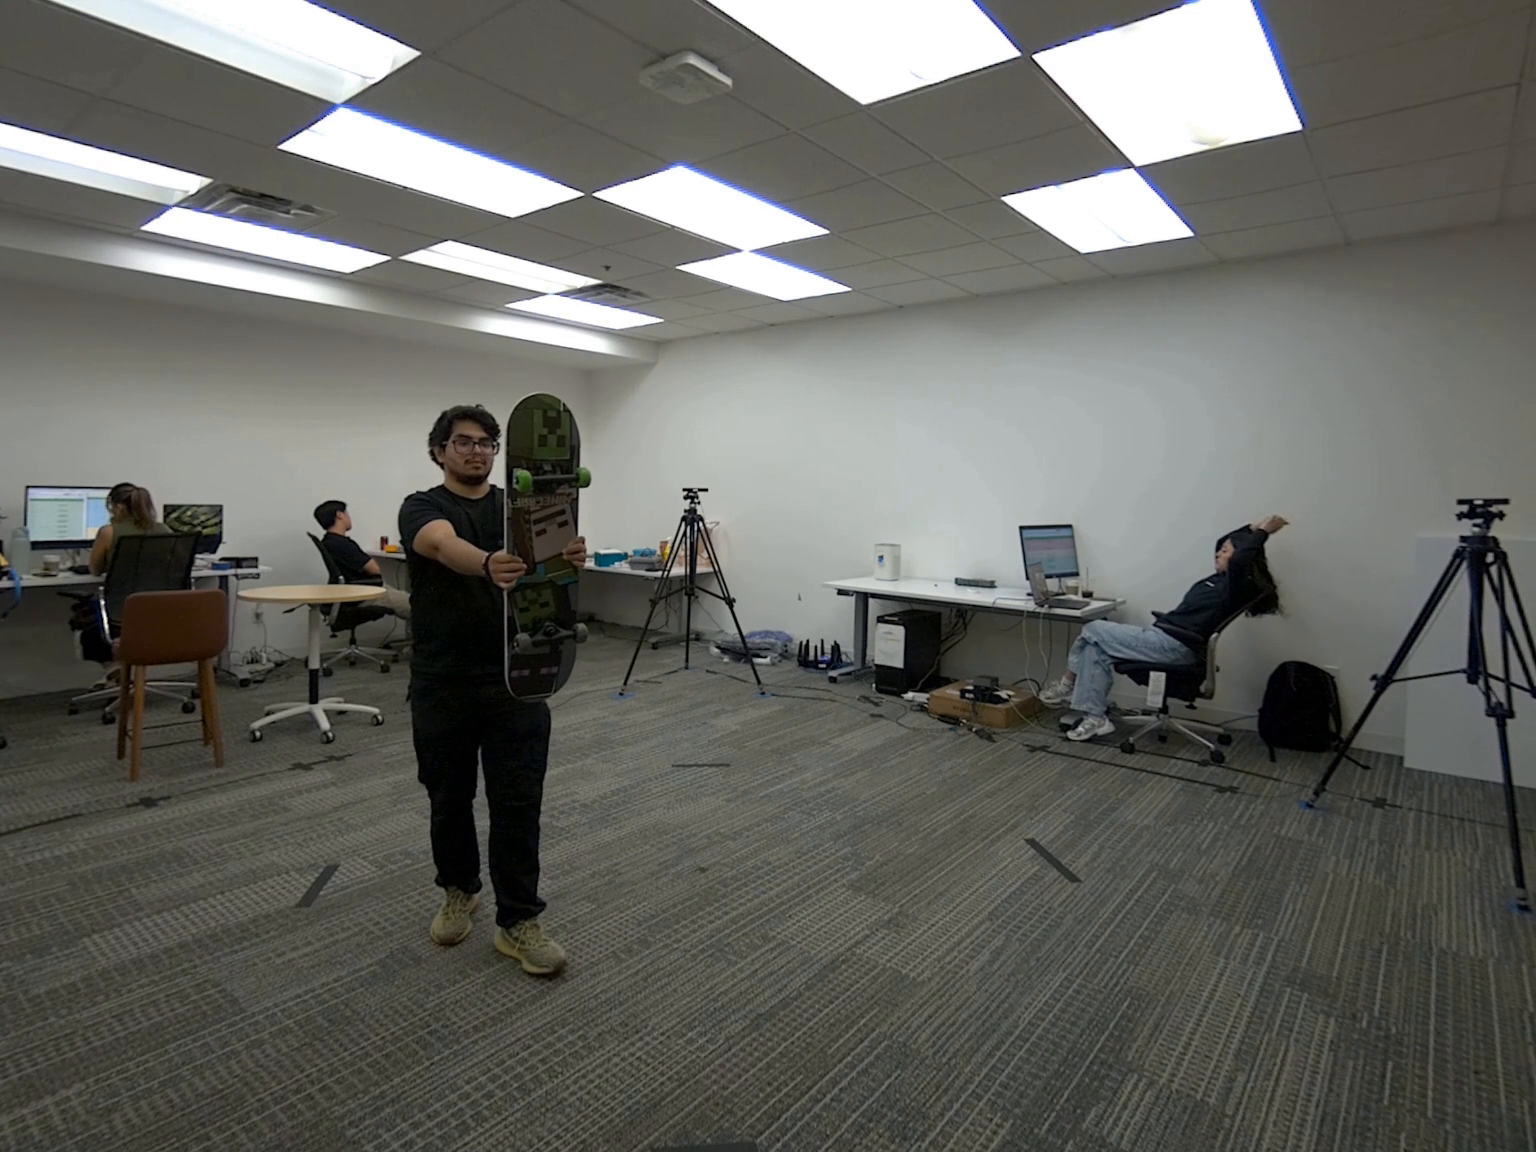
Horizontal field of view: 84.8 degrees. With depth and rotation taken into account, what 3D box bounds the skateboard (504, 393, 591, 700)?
[{"bbox_3d":[-0.547,-0.044,2.076,0.188,0.776,0.115,-6,16,-37],"label":"skateboard"}]
